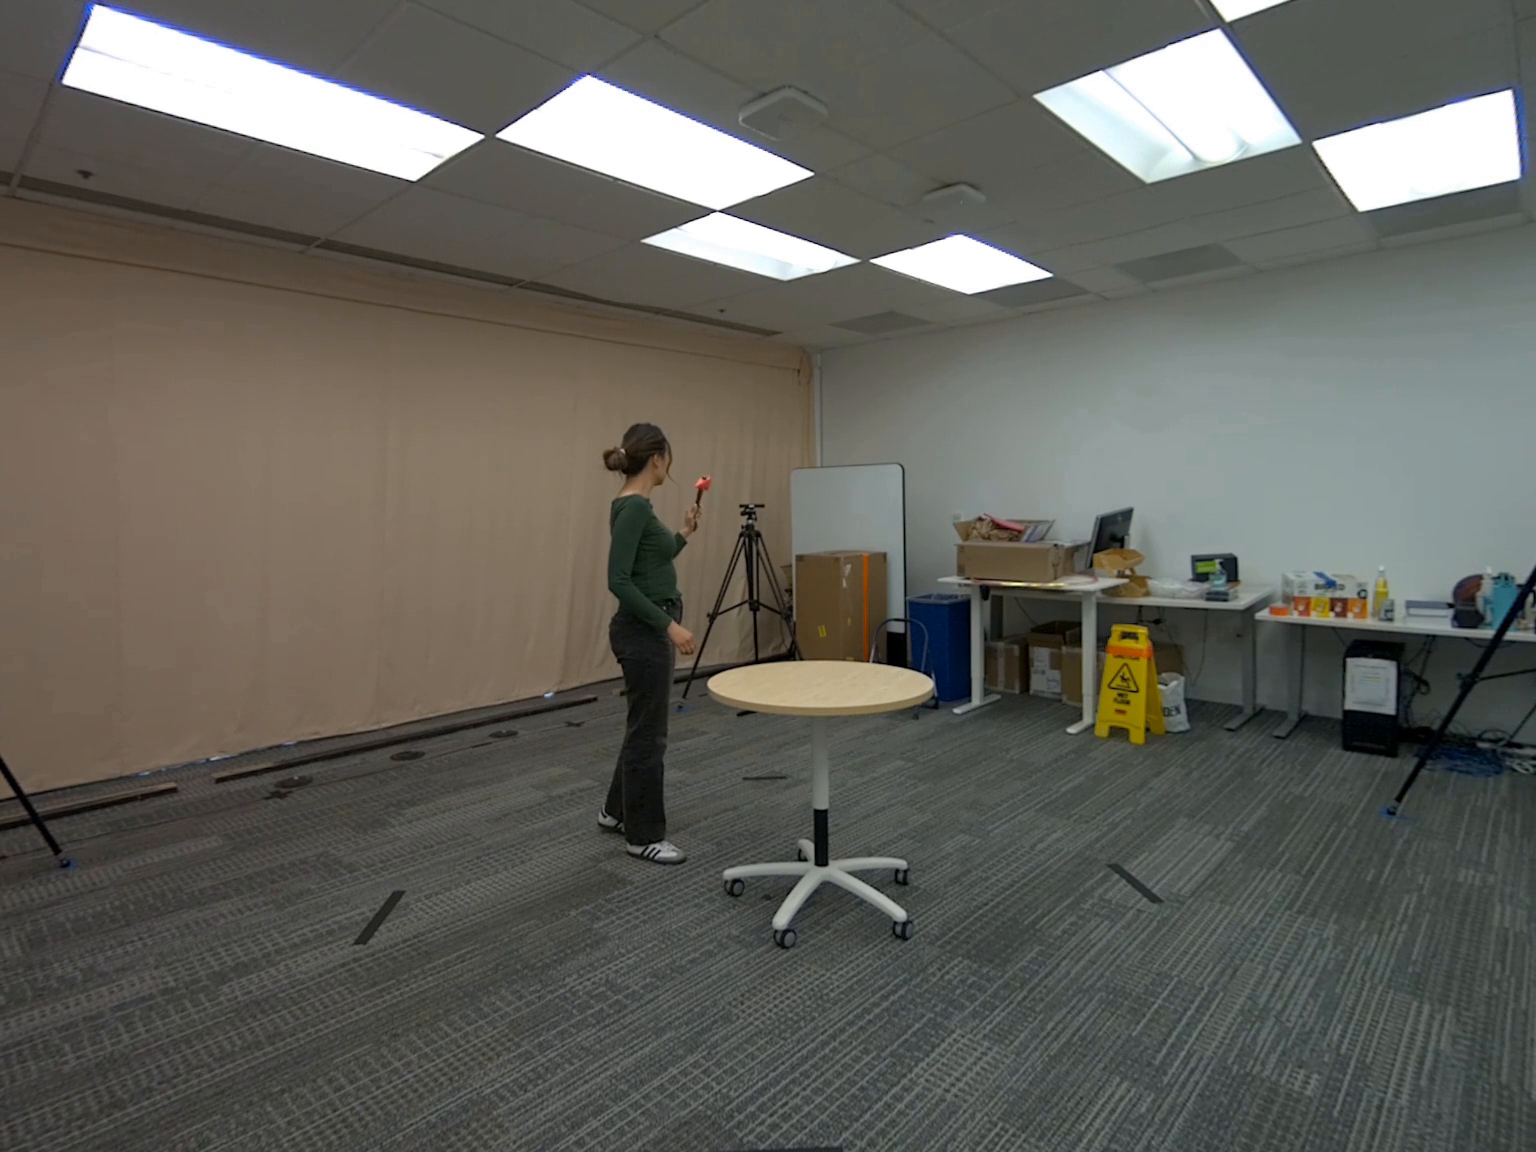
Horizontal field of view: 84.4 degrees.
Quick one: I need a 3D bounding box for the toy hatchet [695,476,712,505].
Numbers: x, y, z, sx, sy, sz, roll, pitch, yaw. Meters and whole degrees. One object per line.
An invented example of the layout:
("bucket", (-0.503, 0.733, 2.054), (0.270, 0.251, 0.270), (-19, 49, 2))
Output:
("toy hatchet", (-0.282, -0.321, 3.599), (0.030, 0.267, 0.130), (25, 47, 11))
